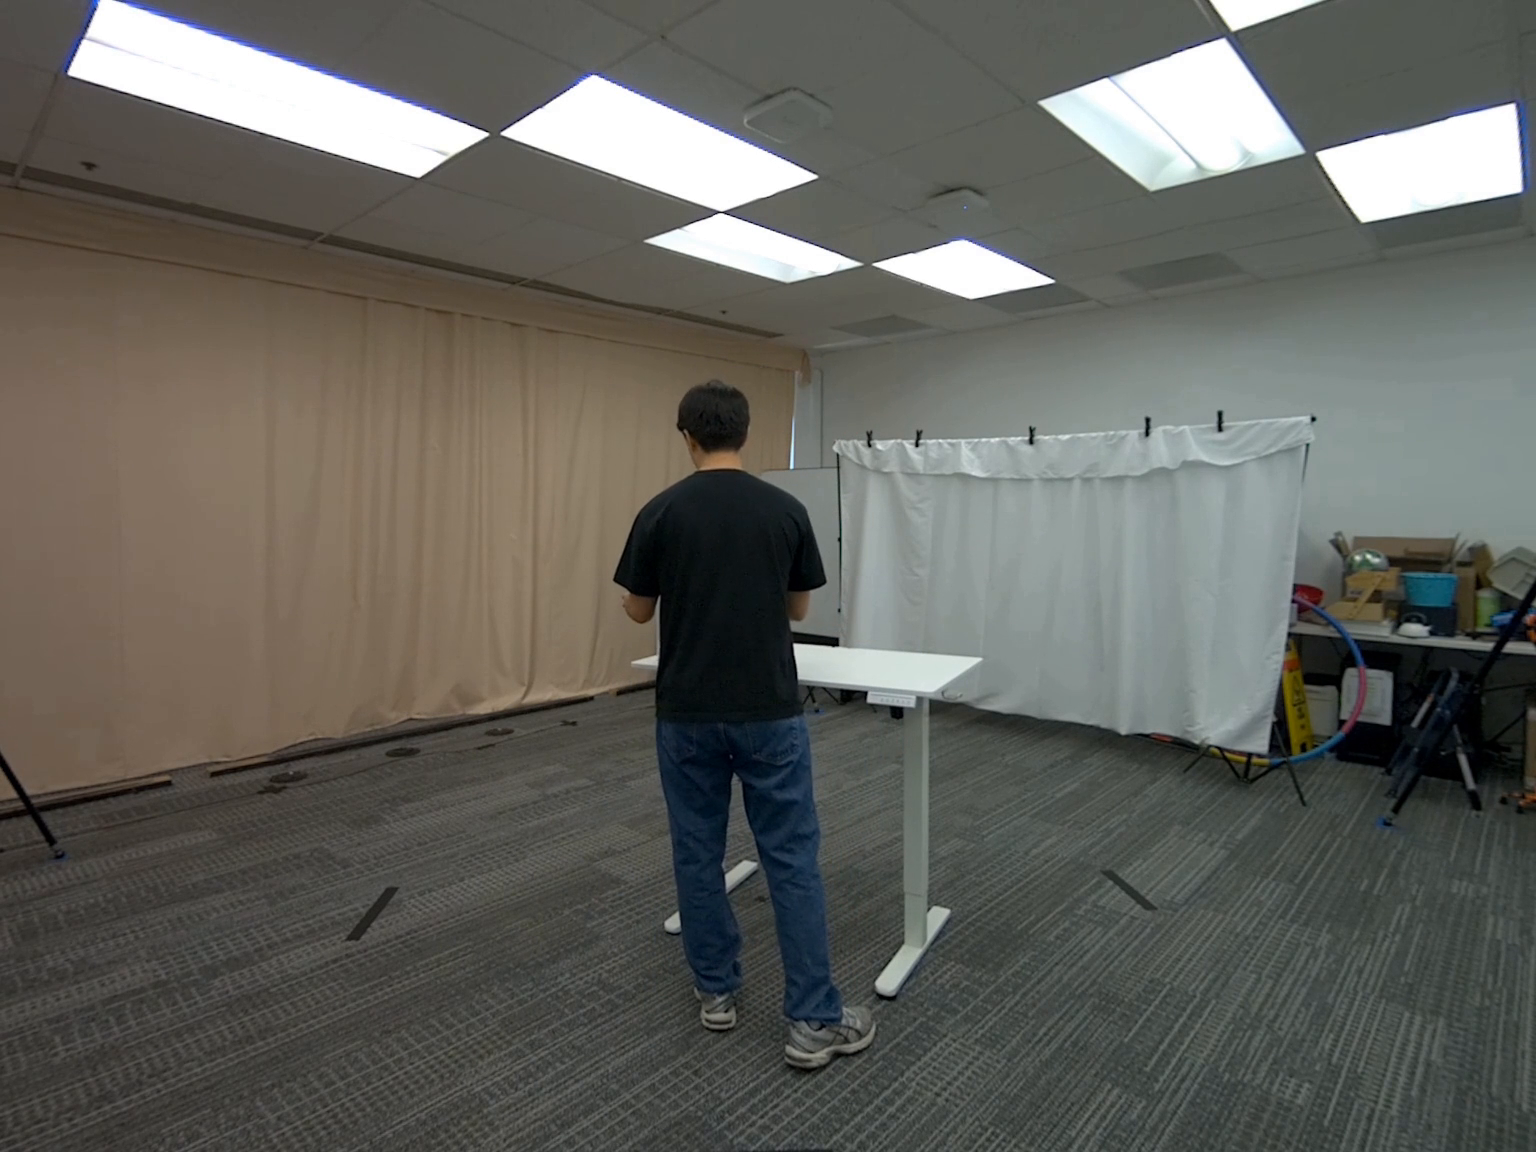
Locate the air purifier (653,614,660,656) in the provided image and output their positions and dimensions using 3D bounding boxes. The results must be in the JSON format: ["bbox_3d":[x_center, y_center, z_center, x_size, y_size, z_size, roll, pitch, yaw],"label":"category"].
[{"bbox_3d":[-0.270,0.145,2.817,0.176,0.265,0.167,1,4,30],"label":"air purifier"}]
